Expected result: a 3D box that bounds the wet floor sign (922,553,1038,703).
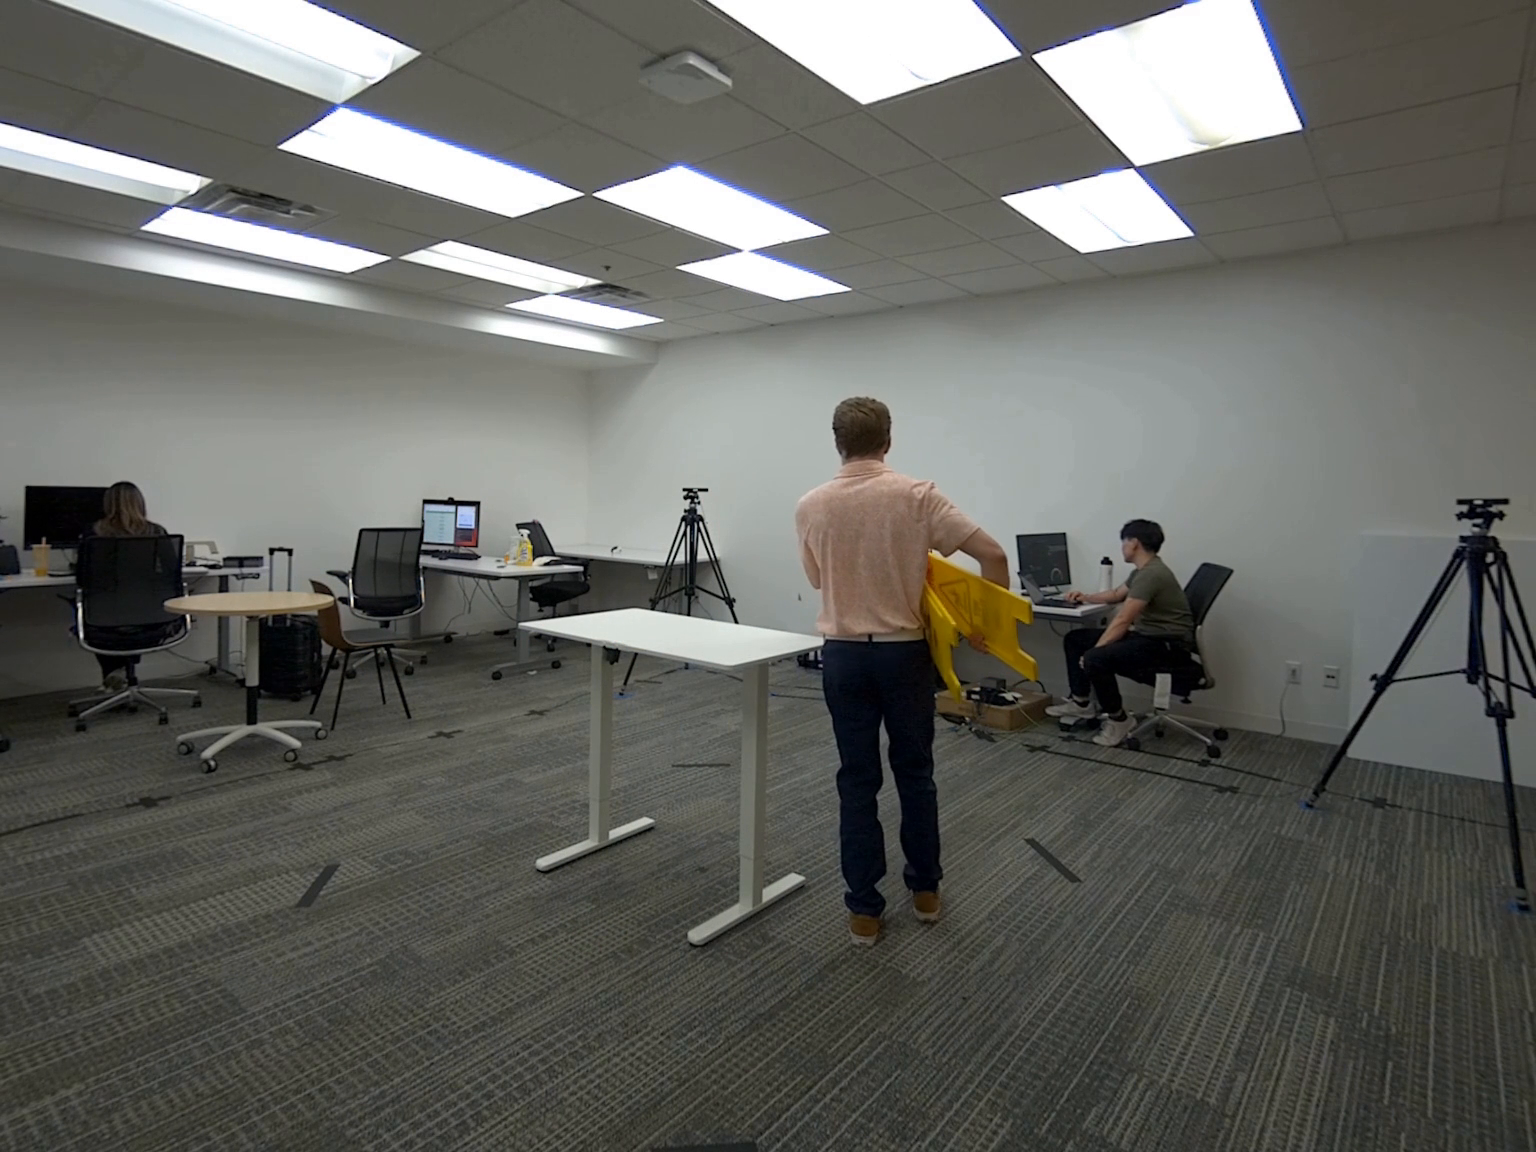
[{"bbox_3d":[0.553,0.100,2.708,0.288,0.275,0.668,-15,28,-9],"label":"wet floor sign"}]
